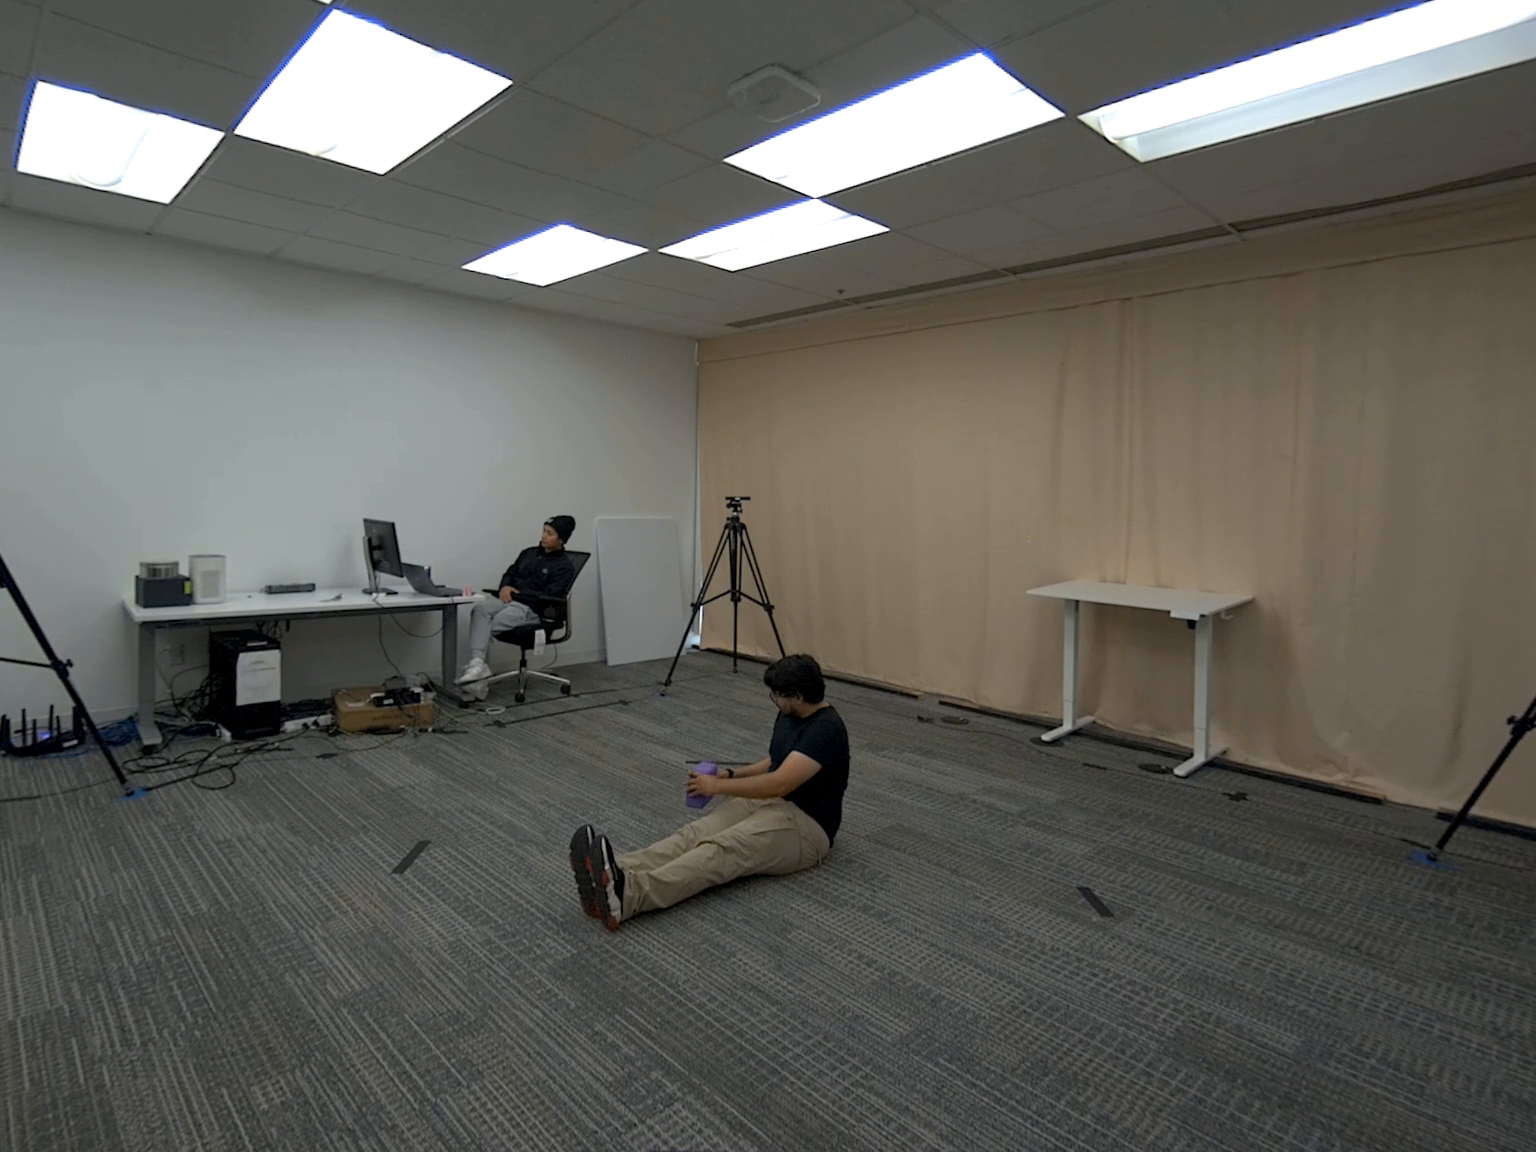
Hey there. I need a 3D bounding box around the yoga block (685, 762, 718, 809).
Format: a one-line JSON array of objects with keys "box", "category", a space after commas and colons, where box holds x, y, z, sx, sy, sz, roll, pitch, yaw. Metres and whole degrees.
[{"box": [-0.270, 0.840, 3.413, 0.077, 0.149, 0.227, 5, -3, 5], "category": "yoga block"}]
